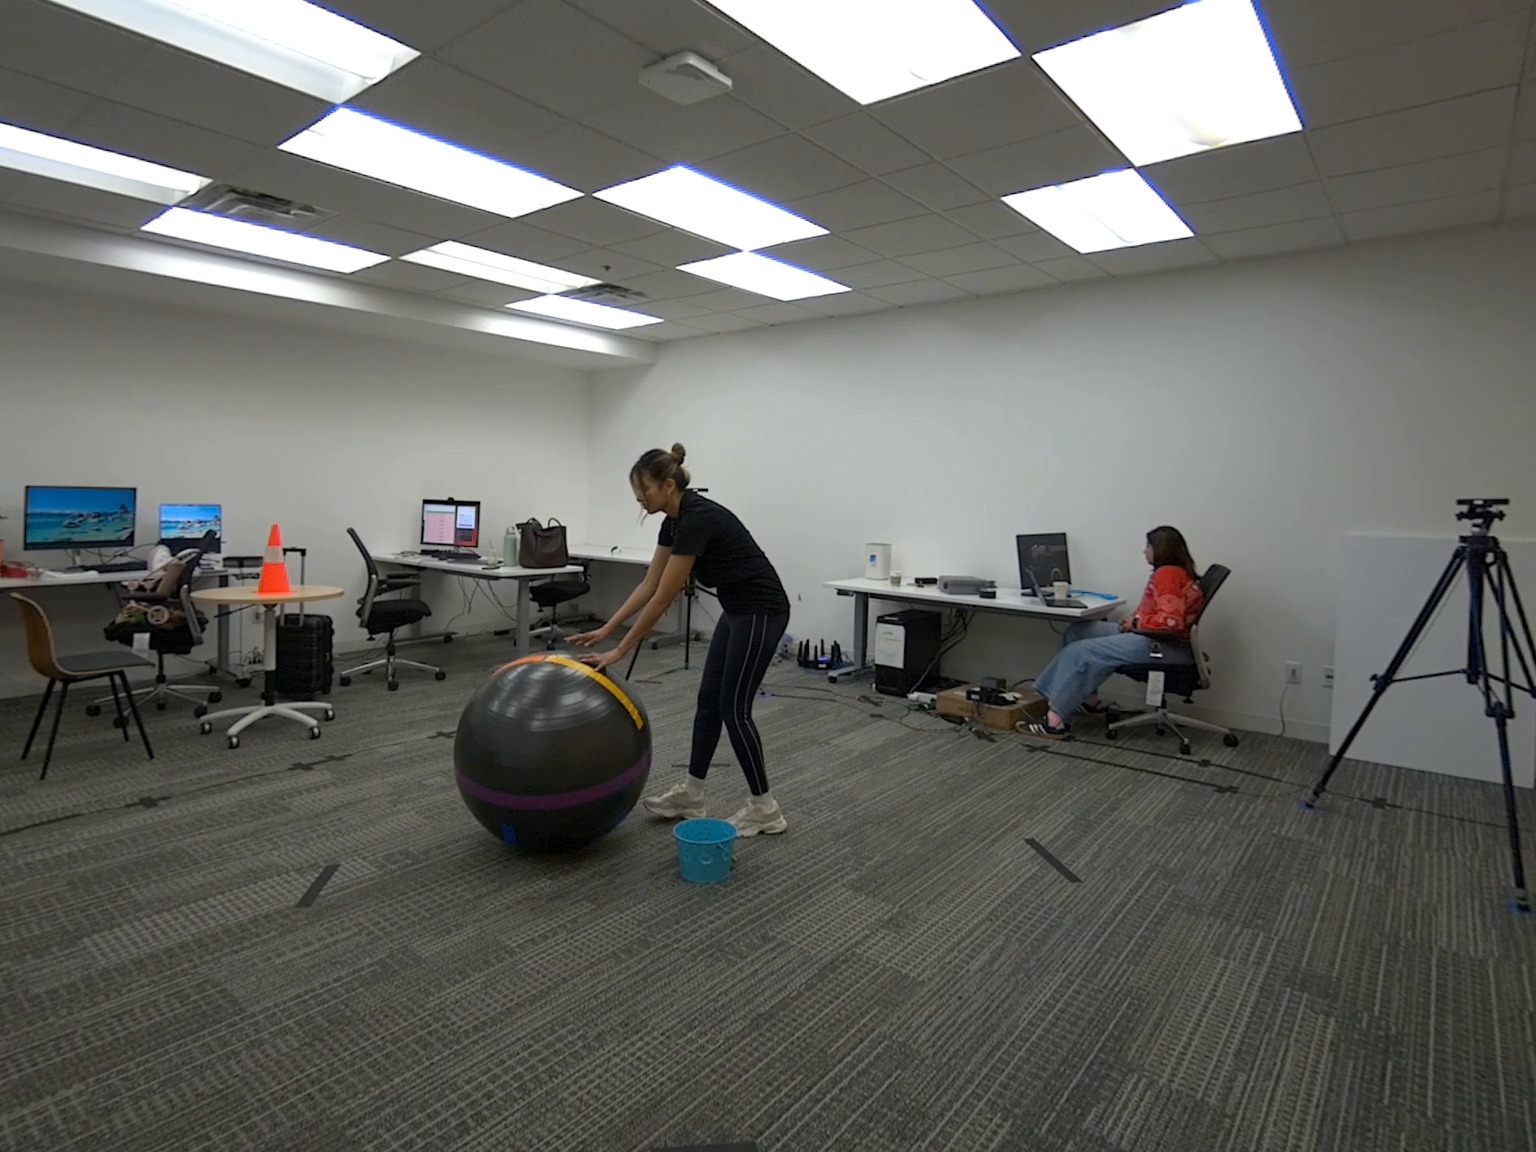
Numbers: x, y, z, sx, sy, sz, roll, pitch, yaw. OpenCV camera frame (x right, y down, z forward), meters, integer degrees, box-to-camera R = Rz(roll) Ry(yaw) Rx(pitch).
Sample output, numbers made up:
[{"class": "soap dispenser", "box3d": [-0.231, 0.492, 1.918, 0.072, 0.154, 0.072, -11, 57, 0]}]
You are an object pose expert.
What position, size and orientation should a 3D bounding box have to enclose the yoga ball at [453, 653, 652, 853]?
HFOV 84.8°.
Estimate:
[{"class": "yoga ball", "box3d": [-0.842, 0.671, 3.306, 0.757, 0.755, 0.762, 1, 4, -2]}]
